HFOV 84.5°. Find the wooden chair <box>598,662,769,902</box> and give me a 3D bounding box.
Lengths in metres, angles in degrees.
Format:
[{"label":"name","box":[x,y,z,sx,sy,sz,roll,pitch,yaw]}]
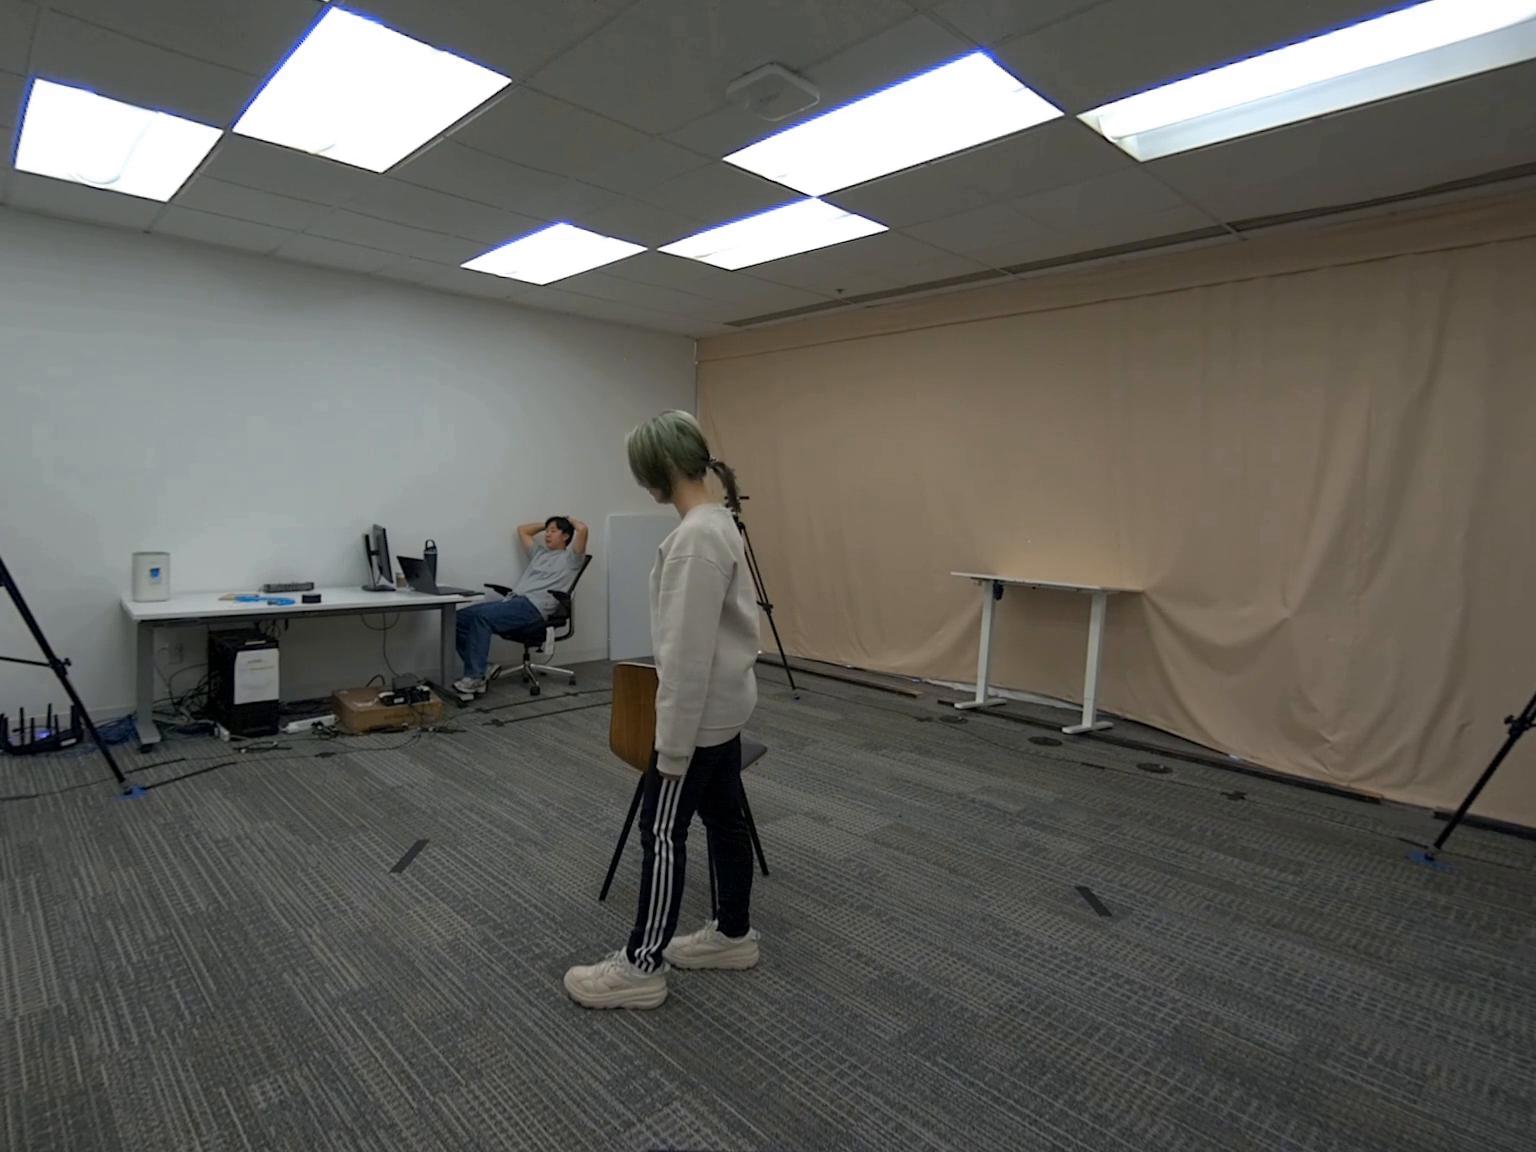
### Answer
[{"label":"wooden chair","box":[-0.282,0.686,2.979,0.487,0.873,0.516,3,8,24]}]
